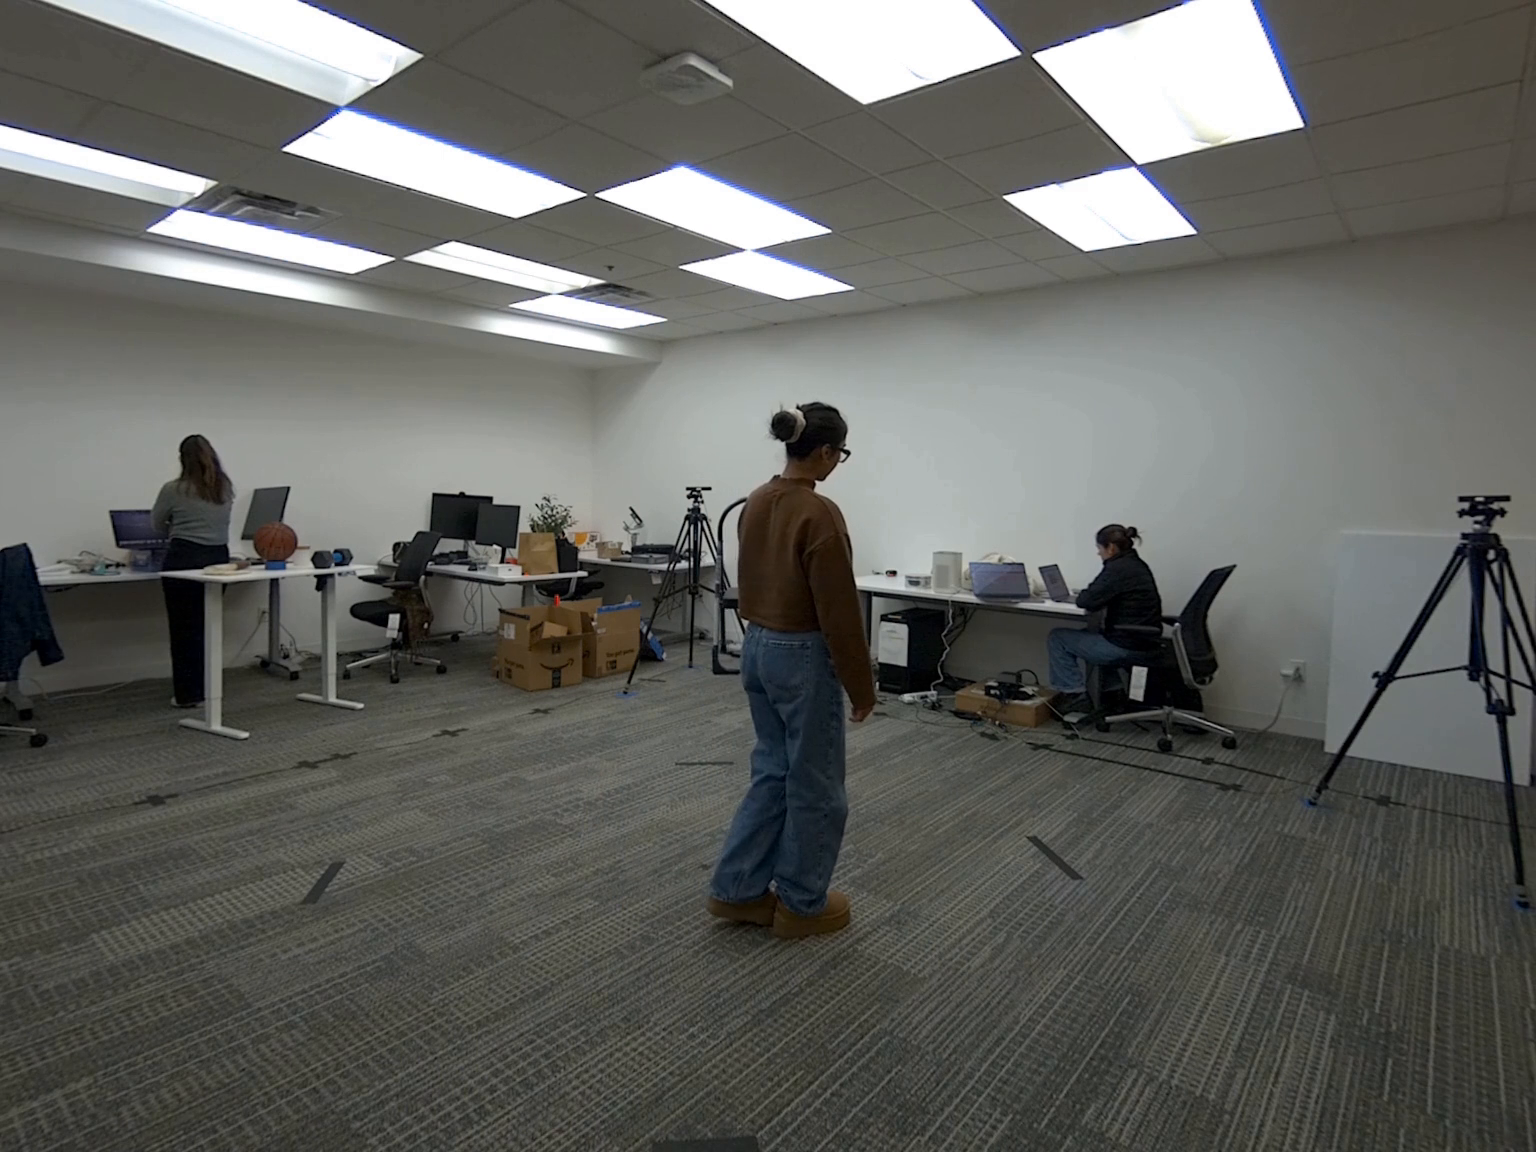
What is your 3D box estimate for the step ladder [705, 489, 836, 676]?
[{"bbox_3d":[0.005,0.006,2.992,0.432,0.601,0.350,1,8,3],"label":"step ladder"}]
